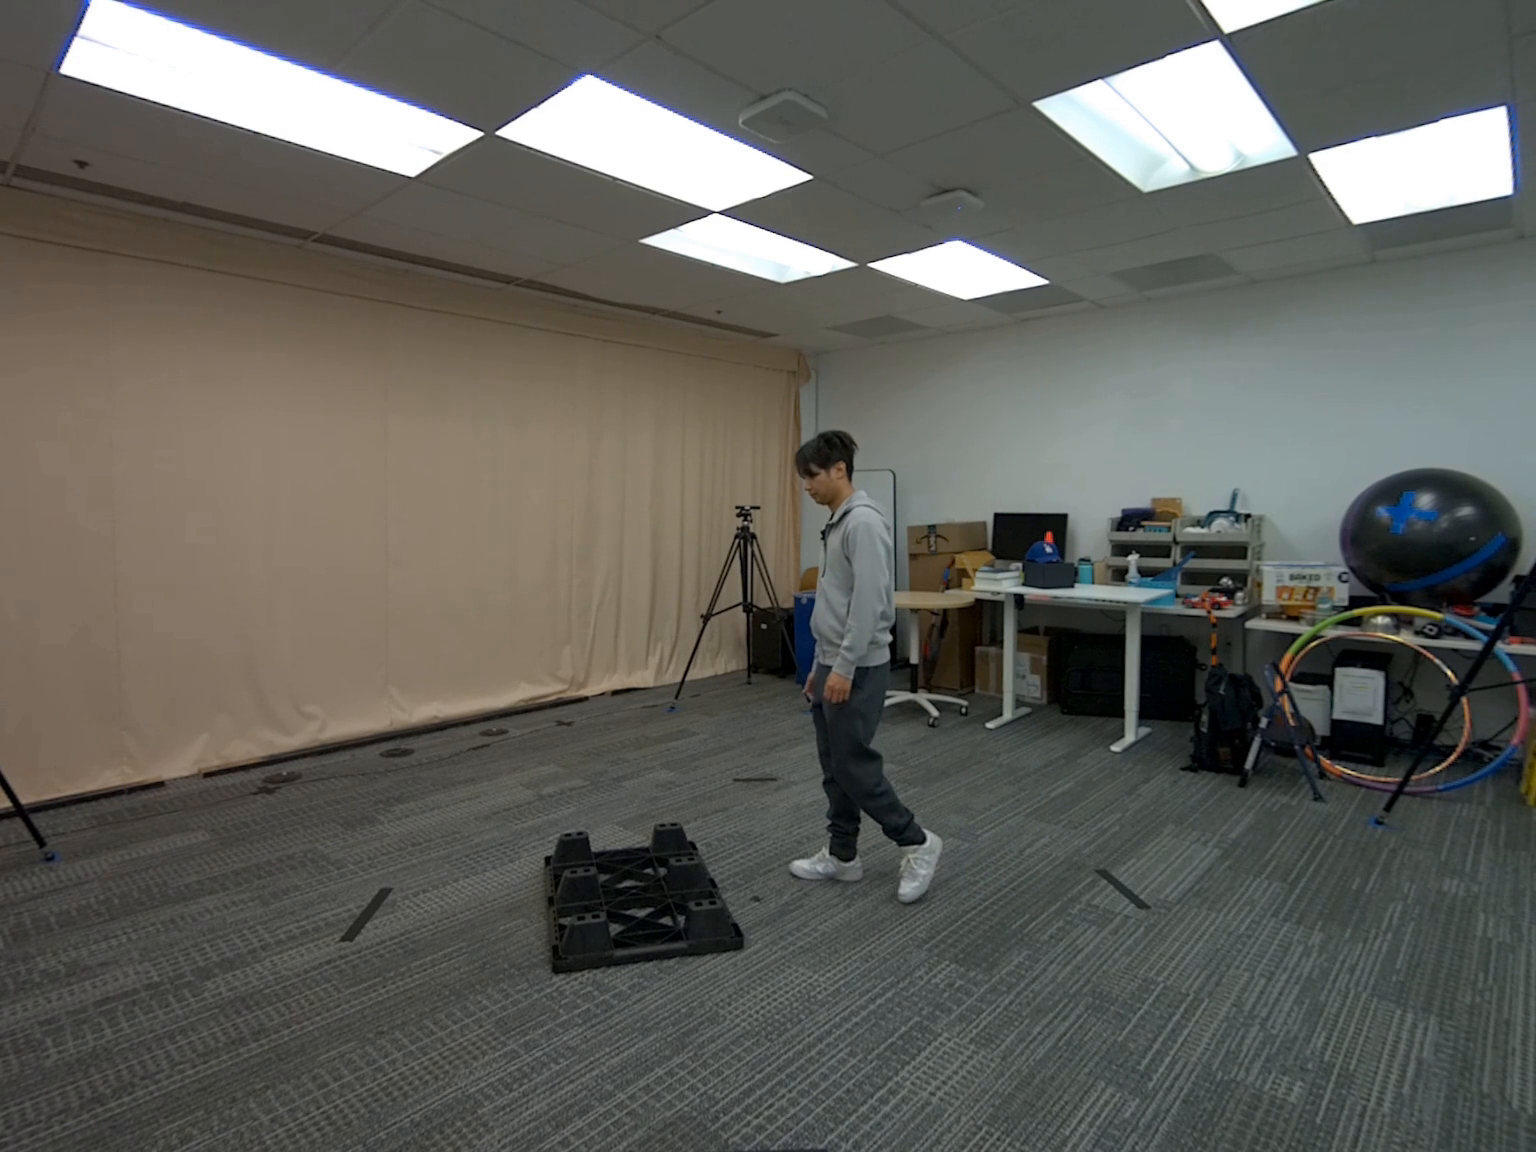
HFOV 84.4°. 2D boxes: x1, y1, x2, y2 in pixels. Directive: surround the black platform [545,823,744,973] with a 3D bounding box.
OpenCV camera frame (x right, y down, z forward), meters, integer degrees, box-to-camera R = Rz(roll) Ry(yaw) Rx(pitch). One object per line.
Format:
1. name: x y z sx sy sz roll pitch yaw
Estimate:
1. black platform: -0.465 1.082 2.953 0.596 0.143 0.821 -2 5 -16
